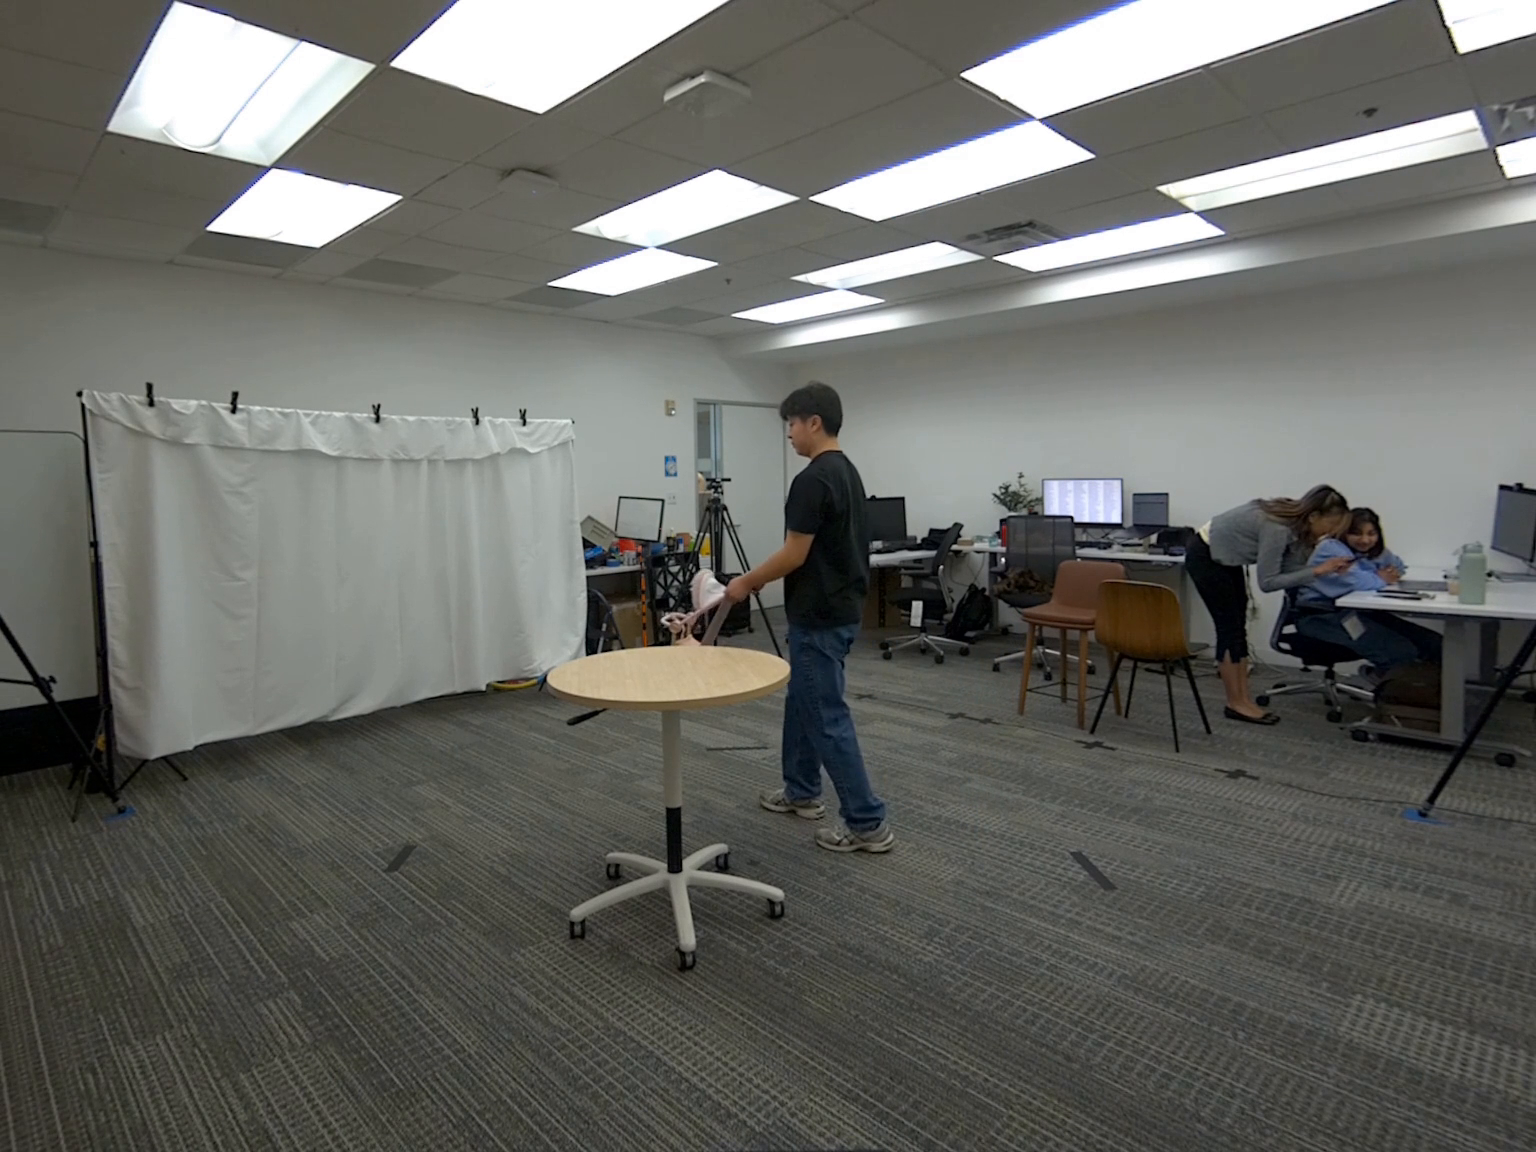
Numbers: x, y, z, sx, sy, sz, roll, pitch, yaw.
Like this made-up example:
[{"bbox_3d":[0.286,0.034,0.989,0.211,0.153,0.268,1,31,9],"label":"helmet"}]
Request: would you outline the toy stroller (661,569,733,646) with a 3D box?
[{"bbox_3d":[-0.275,0.208,3.511,0.349,0.531,0.277,18,12,19],"label":"toy stroller"}]
